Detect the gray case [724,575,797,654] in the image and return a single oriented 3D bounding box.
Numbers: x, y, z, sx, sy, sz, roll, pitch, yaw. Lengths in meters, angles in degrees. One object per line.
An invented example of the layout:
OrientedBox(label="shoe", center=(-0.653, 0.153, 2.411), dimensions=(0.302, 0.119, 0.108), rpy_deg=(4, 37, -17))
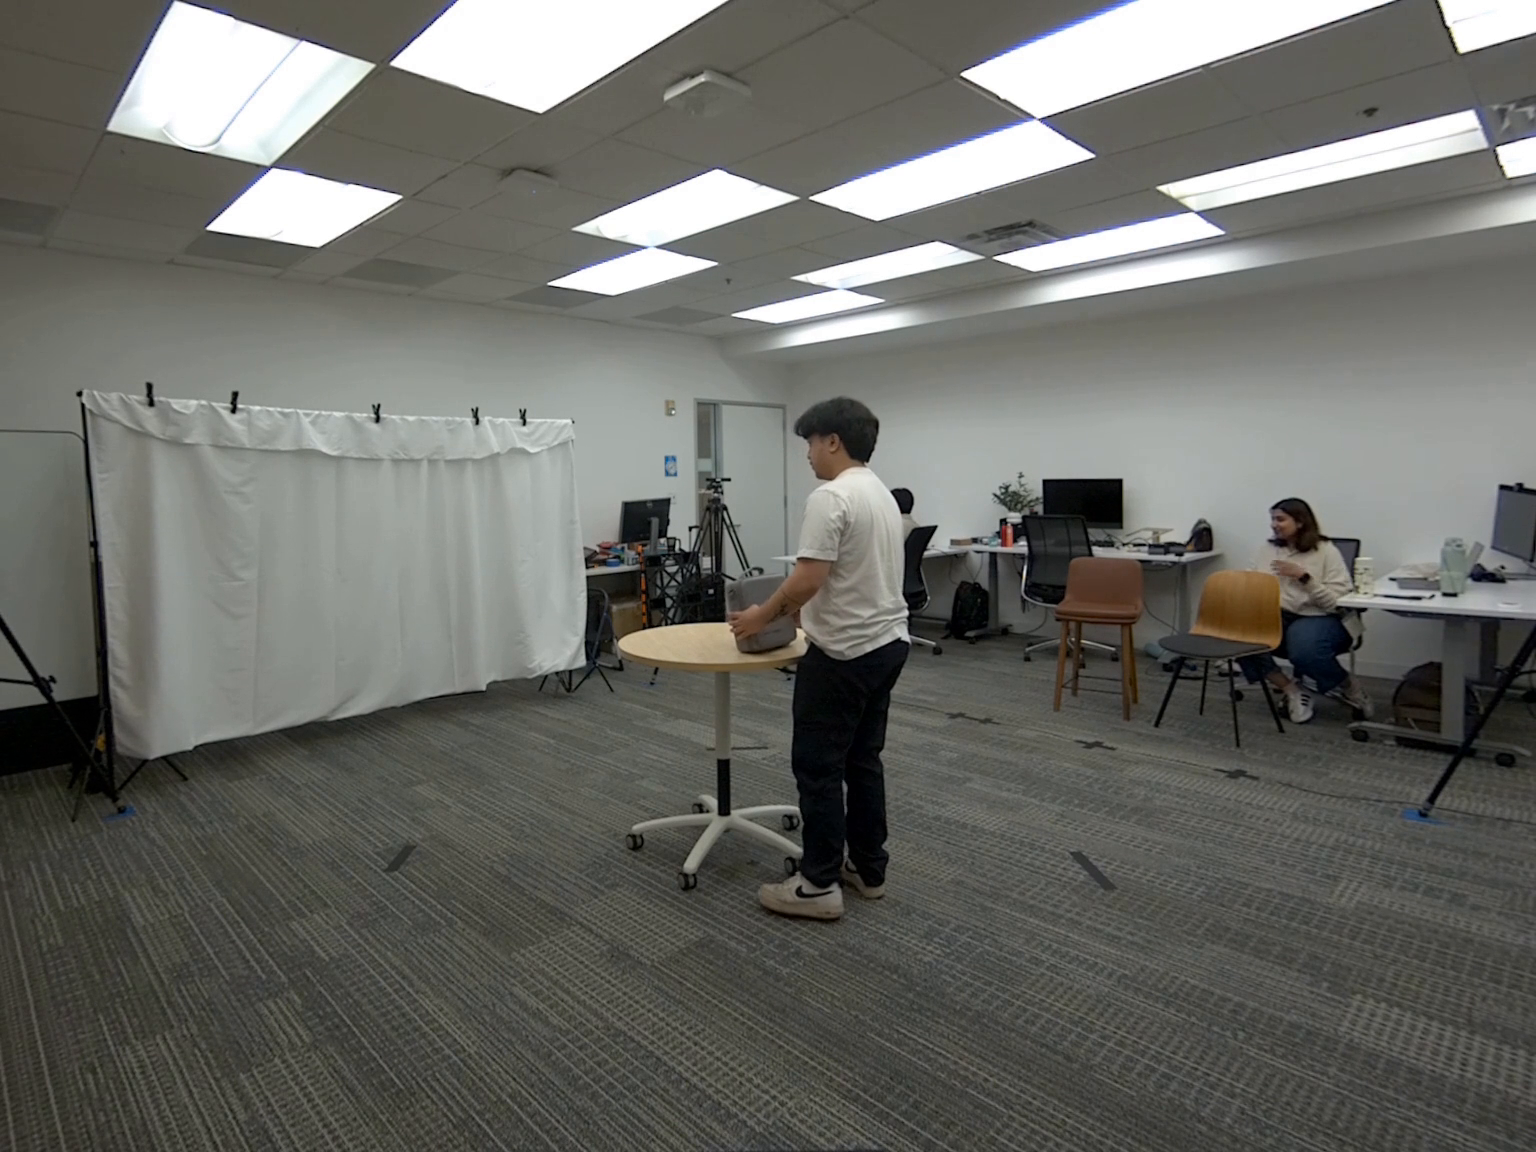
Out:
OrientedBox(label="gray case", center=(-0.018, 0.118, 3.016), dimensions=(0.250, 0.262, 0.106), rpy_deg=(-5, -5, -45))
